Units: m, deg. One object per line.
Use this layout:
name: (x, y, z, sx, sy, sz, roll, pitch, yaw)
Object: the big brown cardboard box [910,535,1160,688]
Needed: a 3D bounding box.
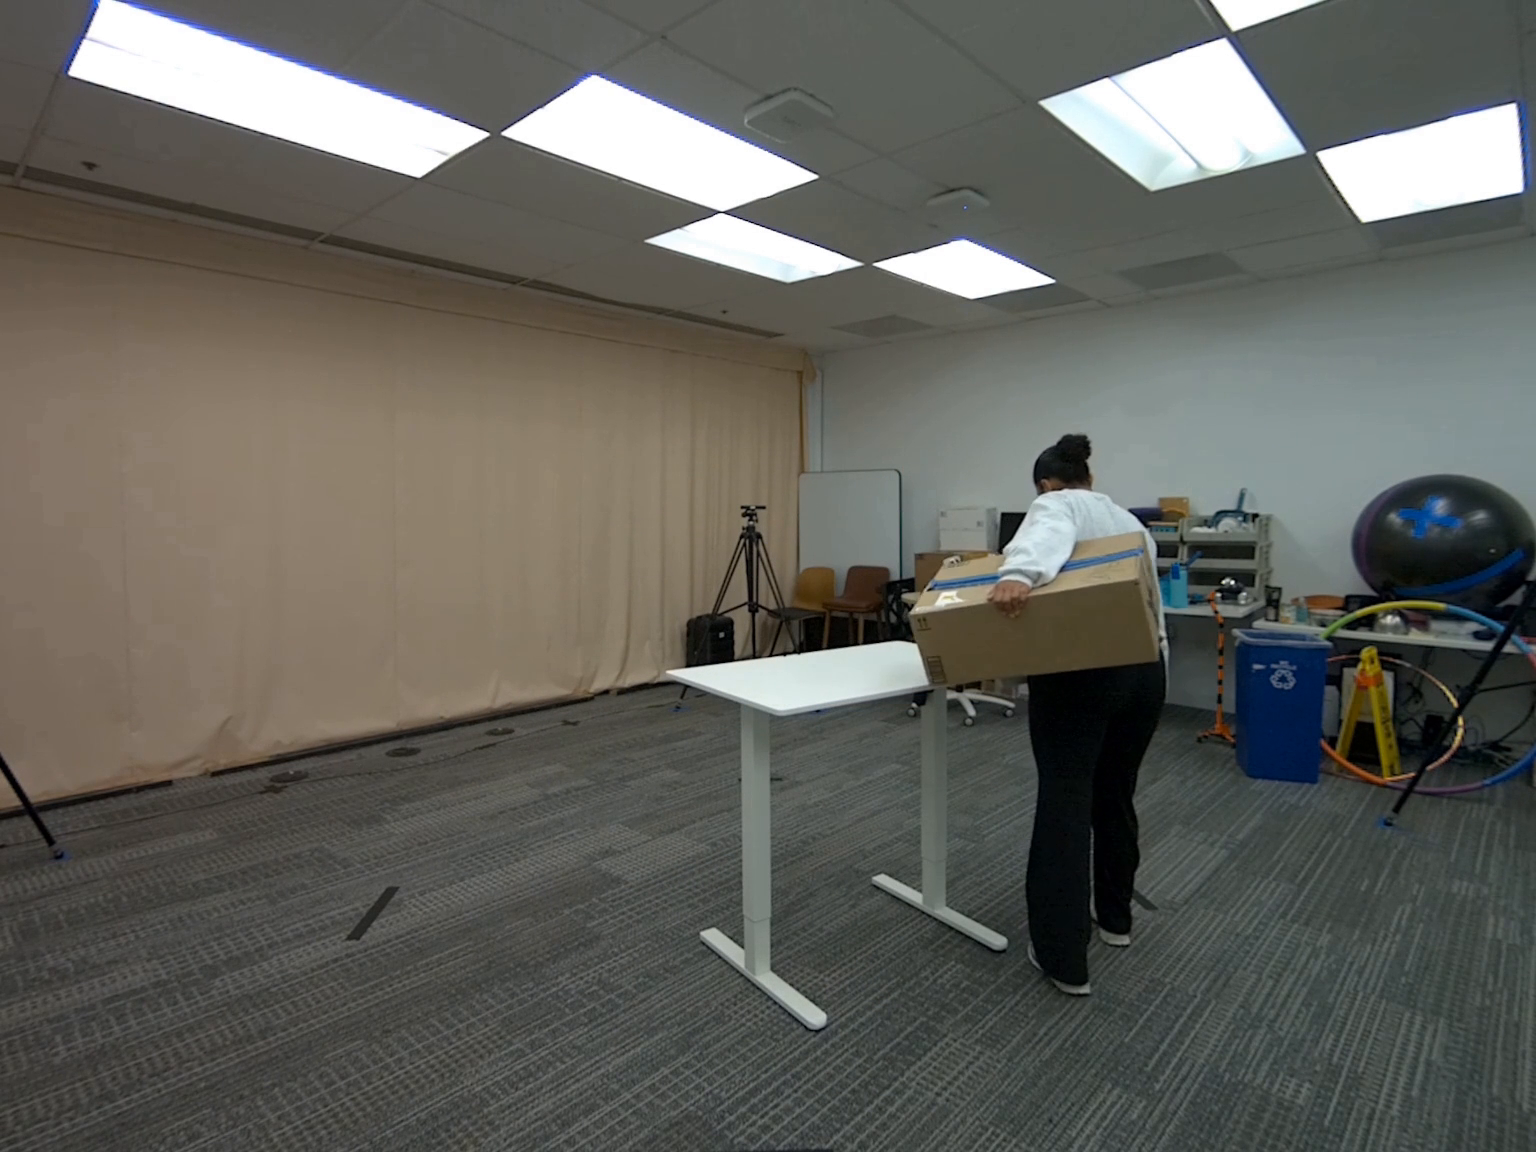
big brown cardboard box: (0.735, 0.086, 2.300, 0.603, 0.231, 0.411, -9, 14, 29)
